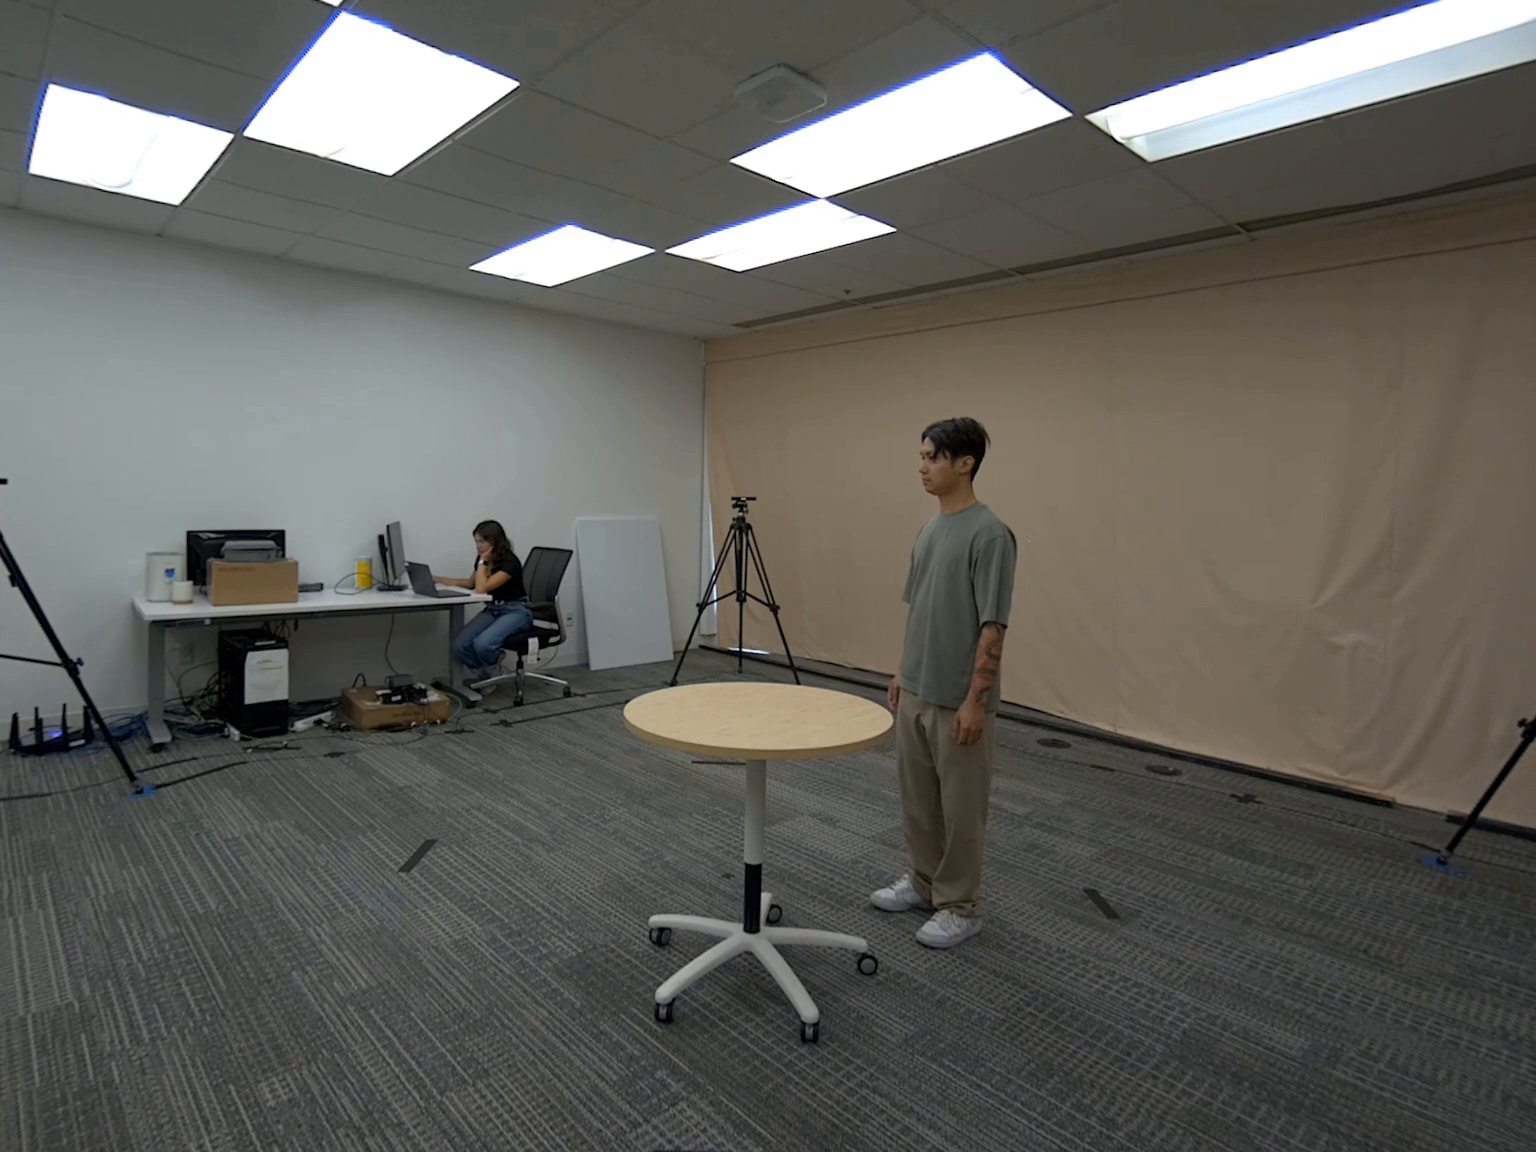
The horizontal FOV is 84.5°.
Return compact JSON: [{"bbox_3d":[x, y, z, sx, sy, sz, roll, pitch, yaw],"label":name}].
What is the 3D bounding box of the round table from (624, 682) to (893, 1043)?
[{"bbox_3d":[-0.049,0.777,2.445,0.784,0.784,0.788,2,4,-1],"label":"round table"}]
